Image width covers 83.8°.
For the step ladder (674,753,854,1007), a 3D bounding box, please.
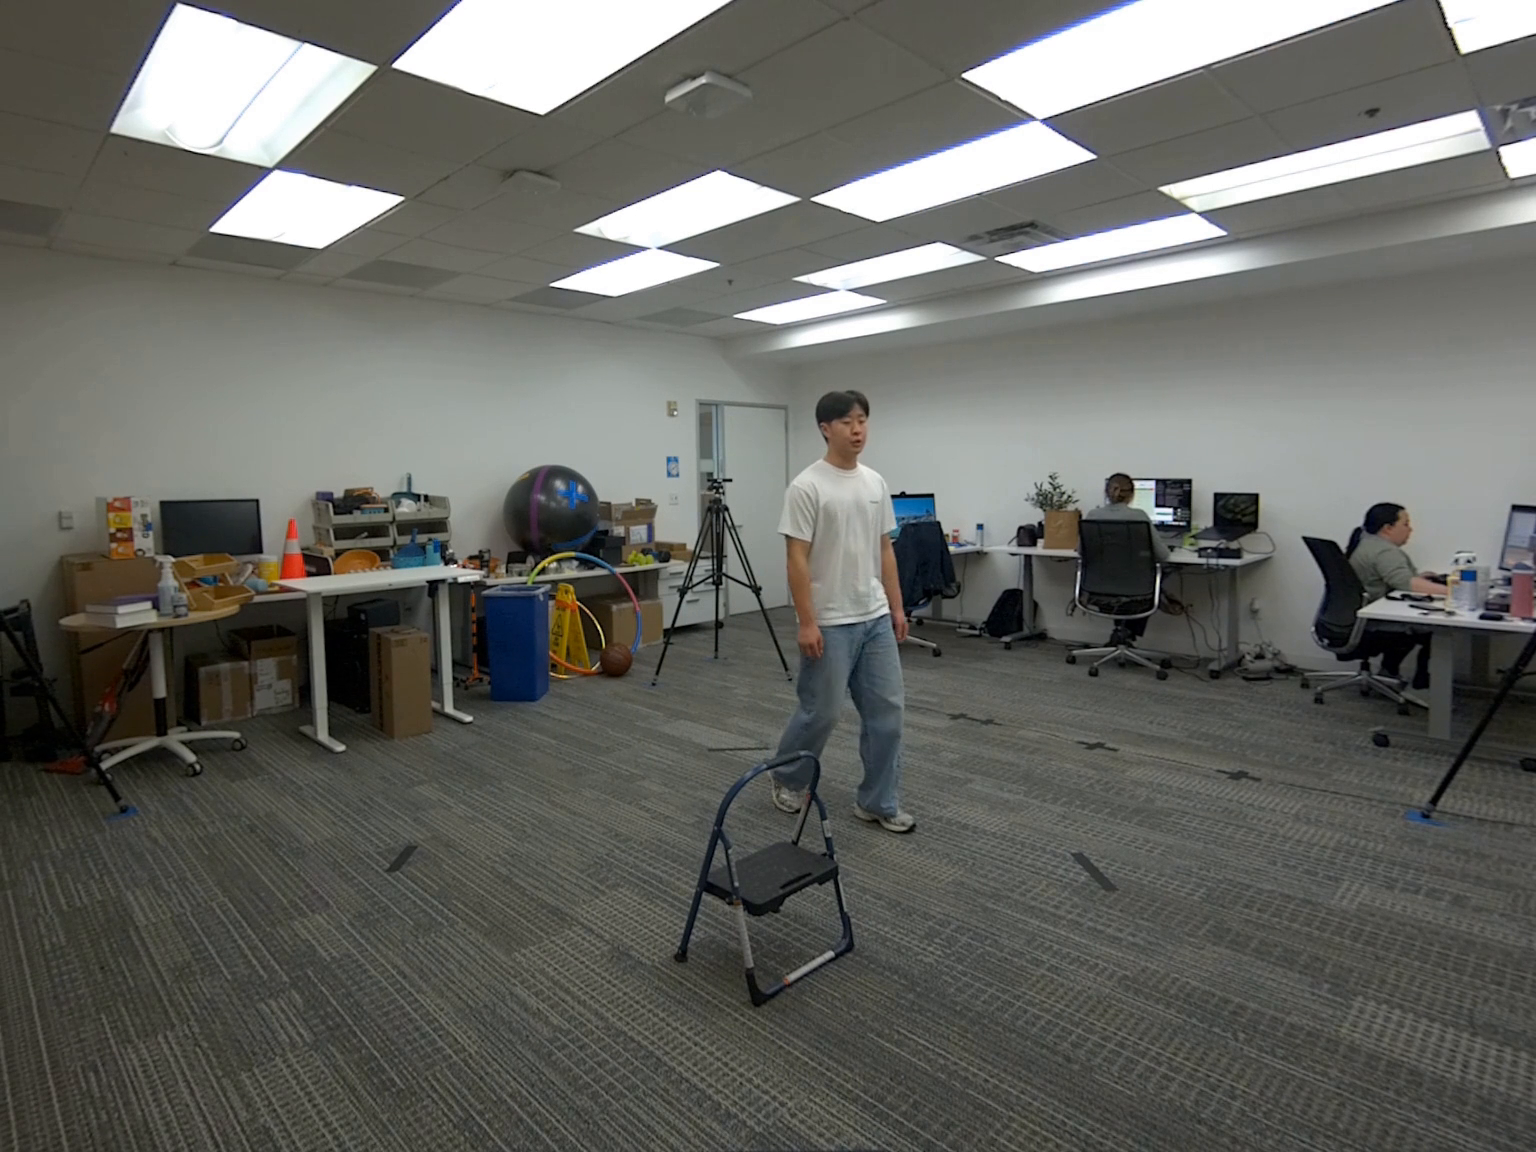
[{"bbox_3d":[-0.010,0.809,2.502,0.360,0.604,0.419,3,6,45],"label":"step ladder"}]
